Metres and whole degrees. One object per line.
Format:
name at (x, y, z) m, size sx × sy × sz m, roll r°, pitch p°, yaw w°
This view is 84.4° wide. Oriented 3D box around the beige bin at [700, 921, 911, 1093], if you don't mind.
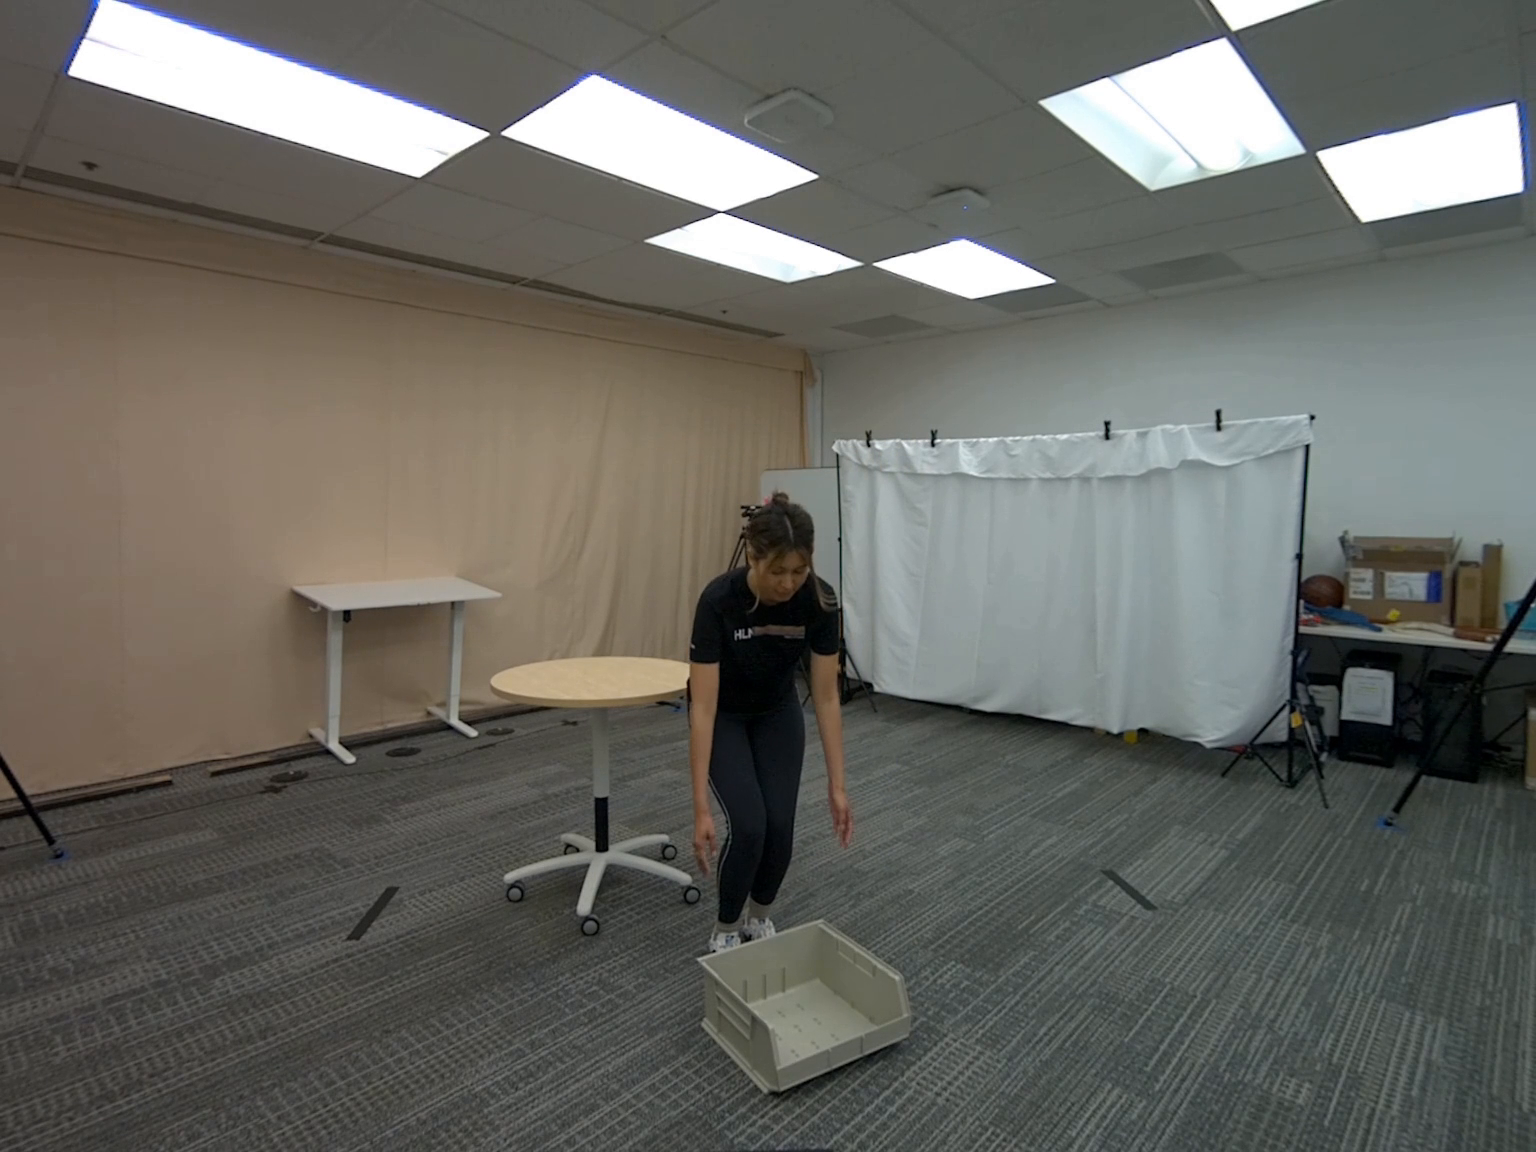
beige bin at (0.094, 1.121, 2.203) m, size 0.411 × 0.188 × 0.389 m, roll -3°, pitch 4°, yaw -32°
